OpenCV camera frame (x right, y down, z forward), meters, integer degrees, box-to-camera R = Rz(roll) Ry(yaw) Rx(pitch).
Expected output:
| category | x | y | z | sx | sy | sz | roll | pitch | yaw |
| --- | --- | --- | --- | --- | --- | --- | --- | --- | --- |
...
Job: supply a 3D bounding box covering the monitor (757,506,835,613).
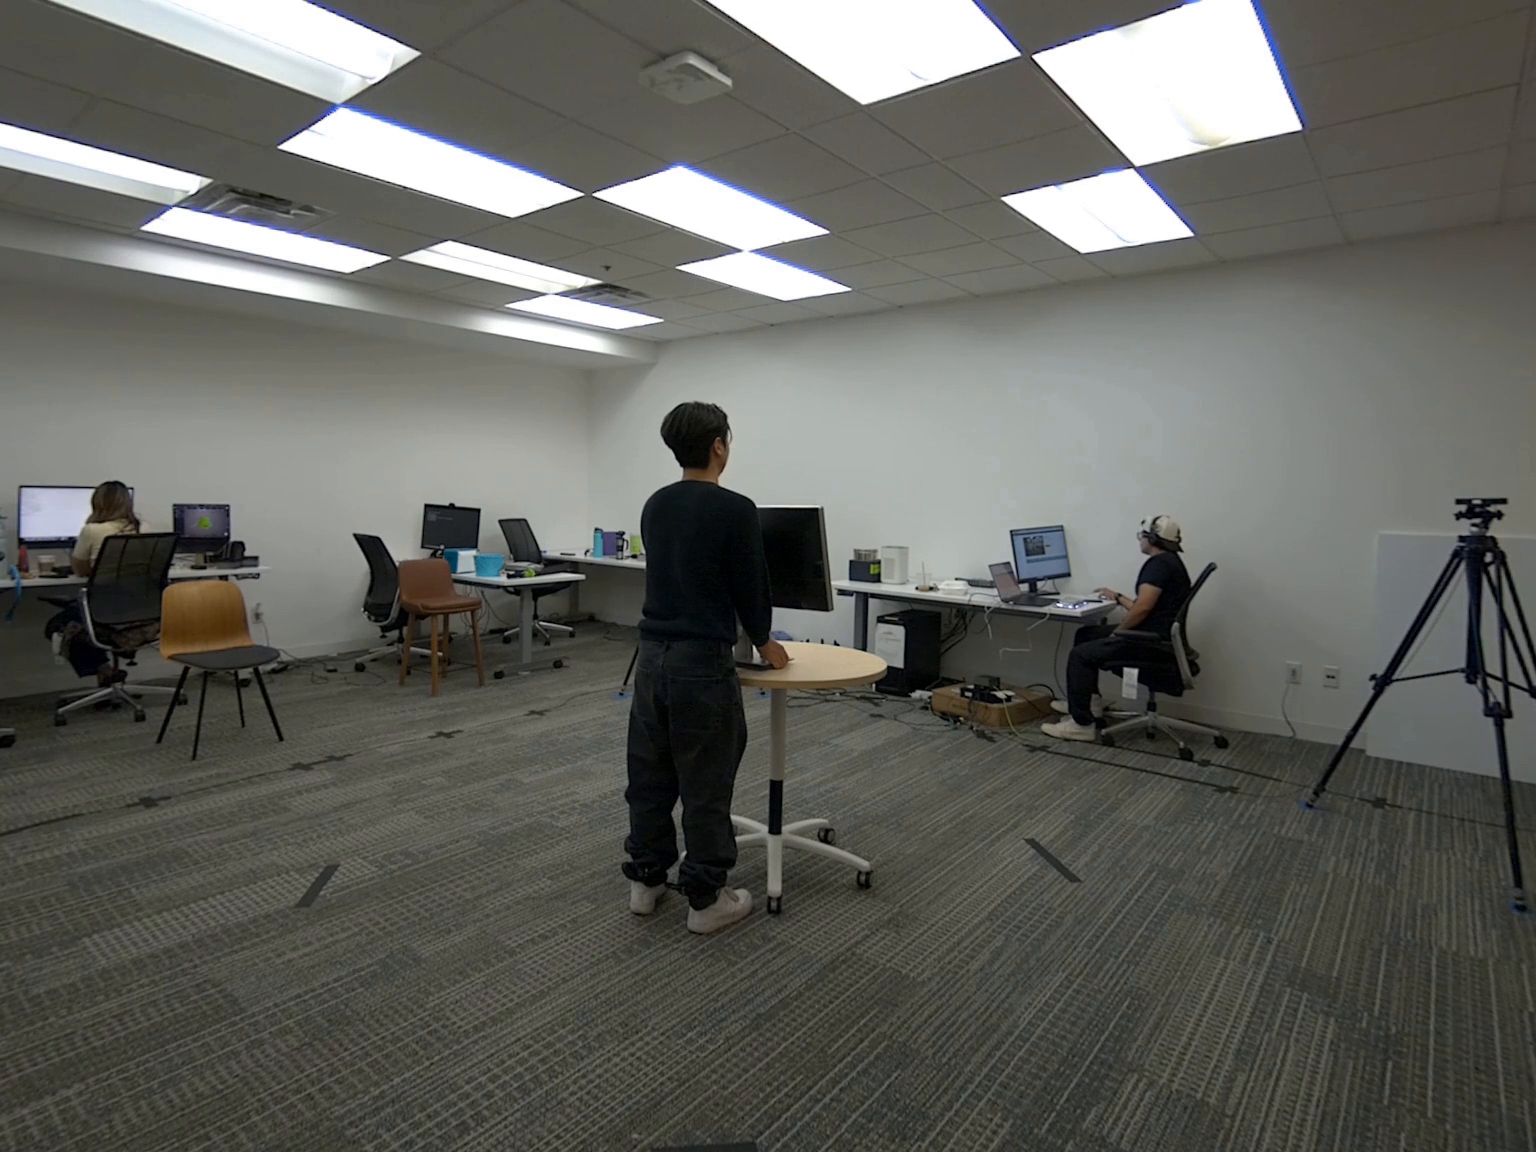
| category | x | y | z | sx | sy | sz | roll | pitch | yaw |
| --- | --- | --- | --- | --- | --- | --- | --- | --- | --- |
| monitor | -0.061 | 0.023 | 2.969 | 0.556 | 0.521 | 0.181 | 3 | 3 | 36 |
